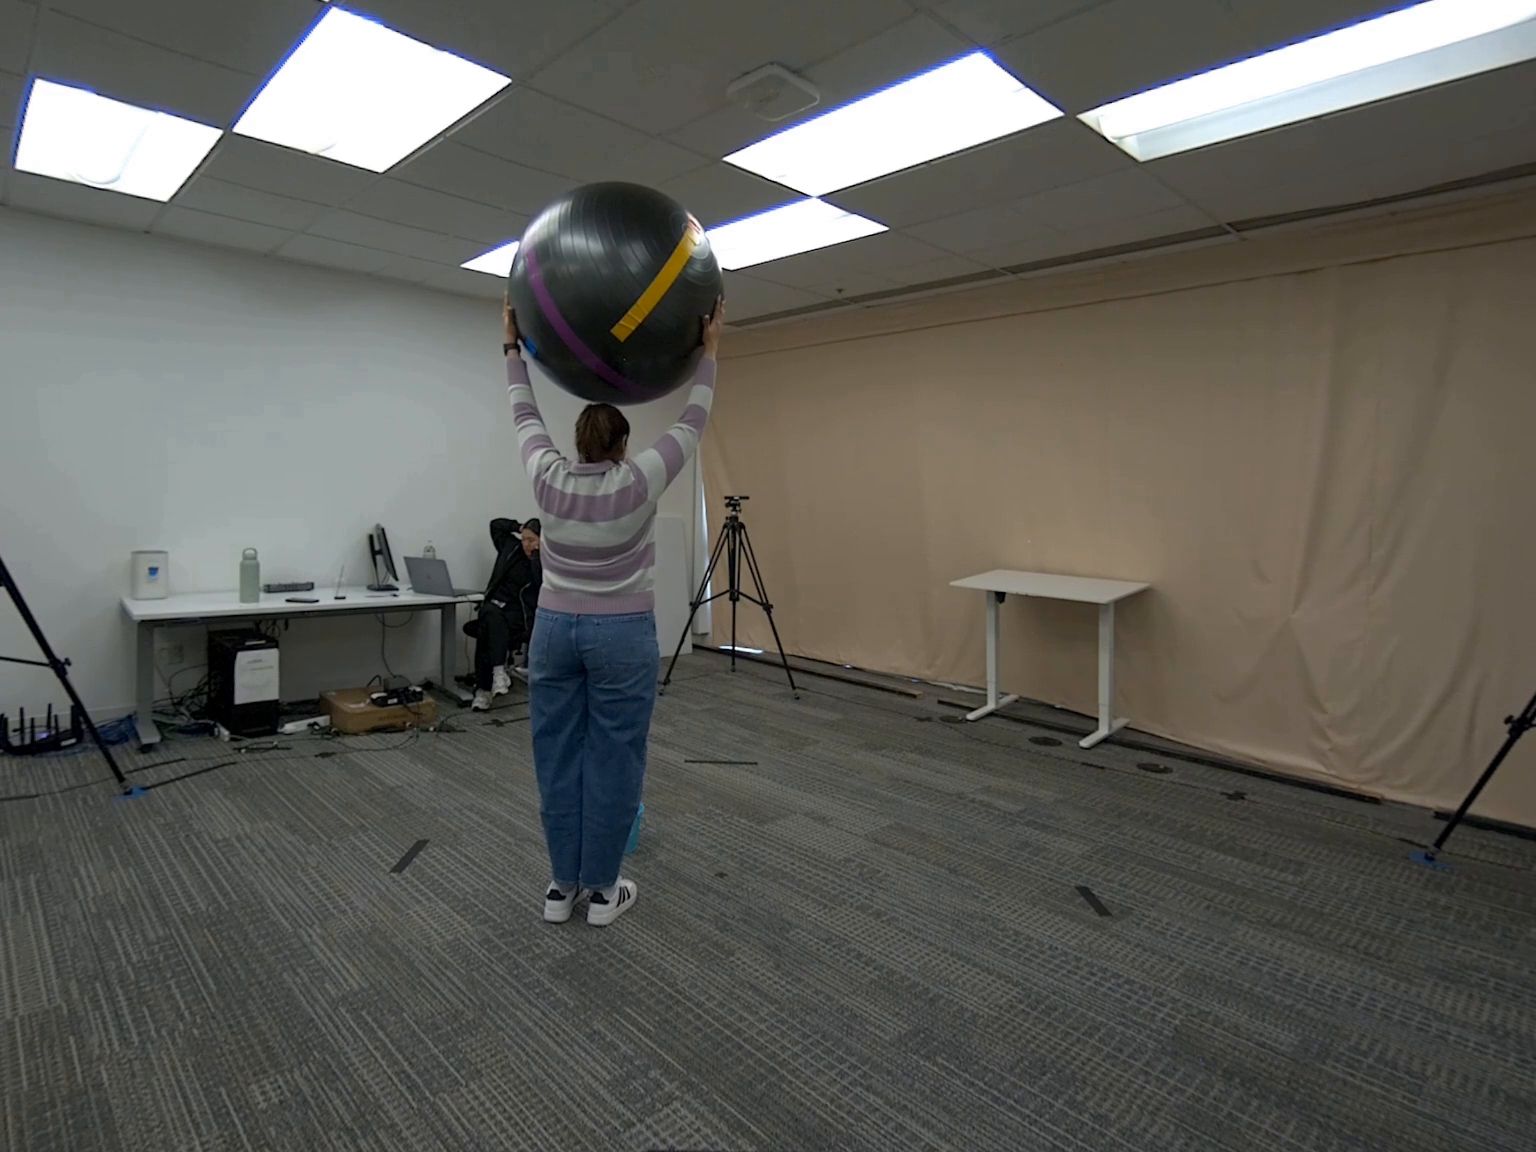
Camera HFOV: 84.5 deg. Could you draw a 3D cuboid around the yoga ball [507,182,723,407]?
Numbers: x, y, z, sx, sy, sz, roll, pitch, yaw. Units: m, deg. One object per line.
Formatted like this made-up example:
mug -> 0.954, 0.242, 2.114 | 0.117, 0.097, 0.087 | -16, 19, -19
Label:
yoga ball -> -0.533, -0.977, 2.975 | 0.757, 0.756, 0.761 | 1, 4, -1
